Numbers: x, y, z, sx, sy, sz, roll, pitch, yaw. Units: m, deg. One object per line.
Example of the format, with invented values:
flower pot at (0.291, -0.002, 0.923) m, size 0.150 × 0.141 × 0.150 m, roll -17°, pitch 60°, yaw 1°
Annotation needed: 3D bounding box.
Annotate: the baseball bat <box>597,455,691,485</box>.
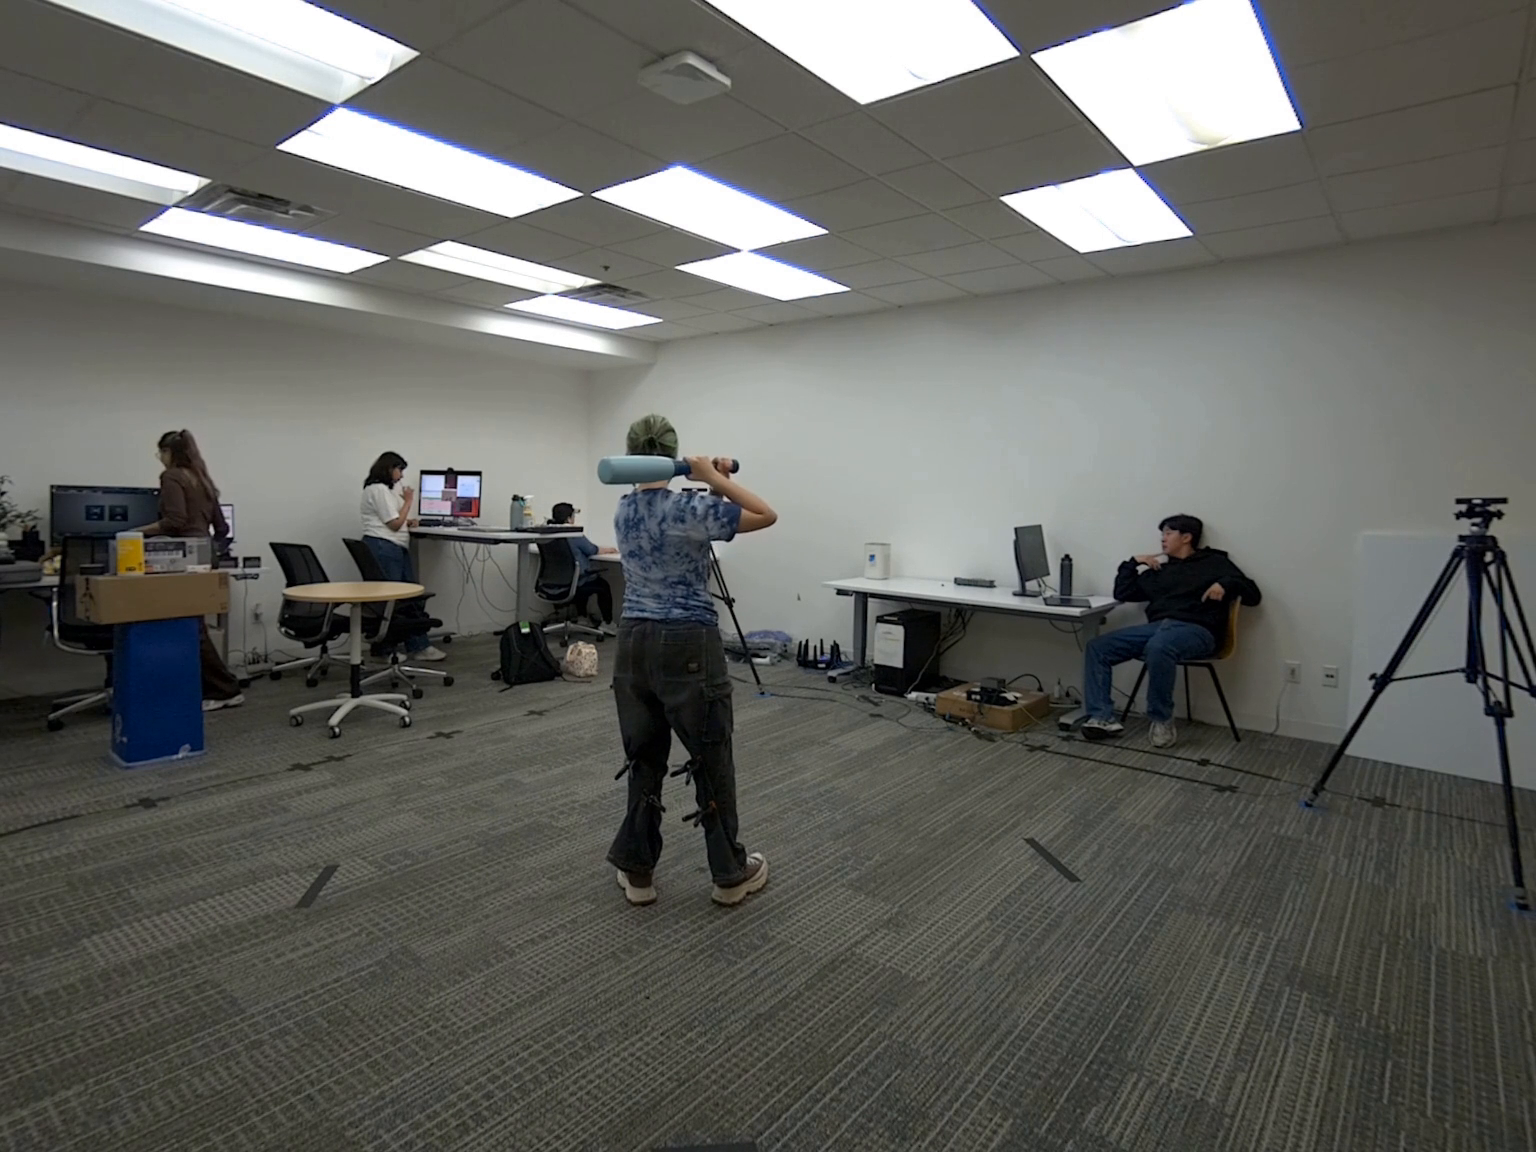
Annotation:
baseball bat at (-0.314, -0.350, 2.754) m, size 0.528 × 0.088 × 0.092 m, roll -8°, pitch 8°, yaw -39°
